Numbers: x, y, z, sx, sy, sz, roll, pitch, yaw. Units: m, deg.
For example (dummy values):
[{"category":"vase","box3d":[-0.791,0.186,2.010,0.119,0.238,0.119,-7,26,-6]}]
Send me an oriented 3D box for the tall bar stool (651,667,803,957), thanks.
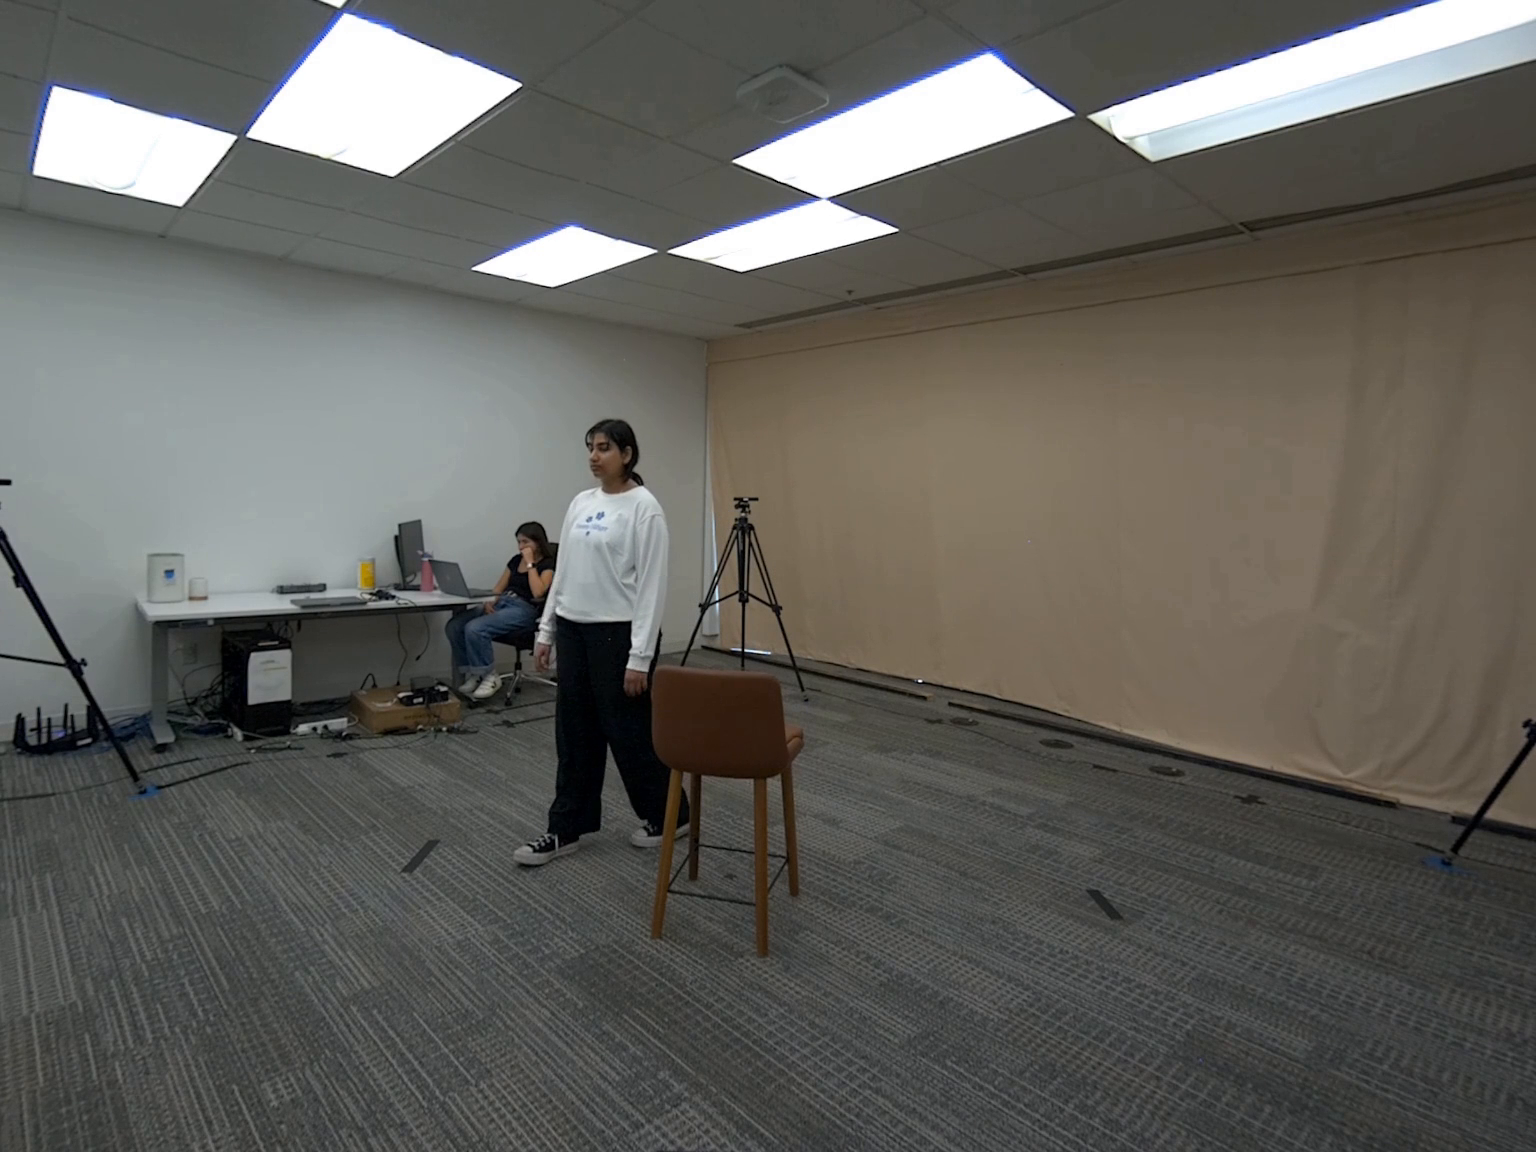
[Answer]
[{"category":"tall bar stool","box3d":[-0.134,0.704,2.787,0.462,0.886,0.463,2,5,15]}]
